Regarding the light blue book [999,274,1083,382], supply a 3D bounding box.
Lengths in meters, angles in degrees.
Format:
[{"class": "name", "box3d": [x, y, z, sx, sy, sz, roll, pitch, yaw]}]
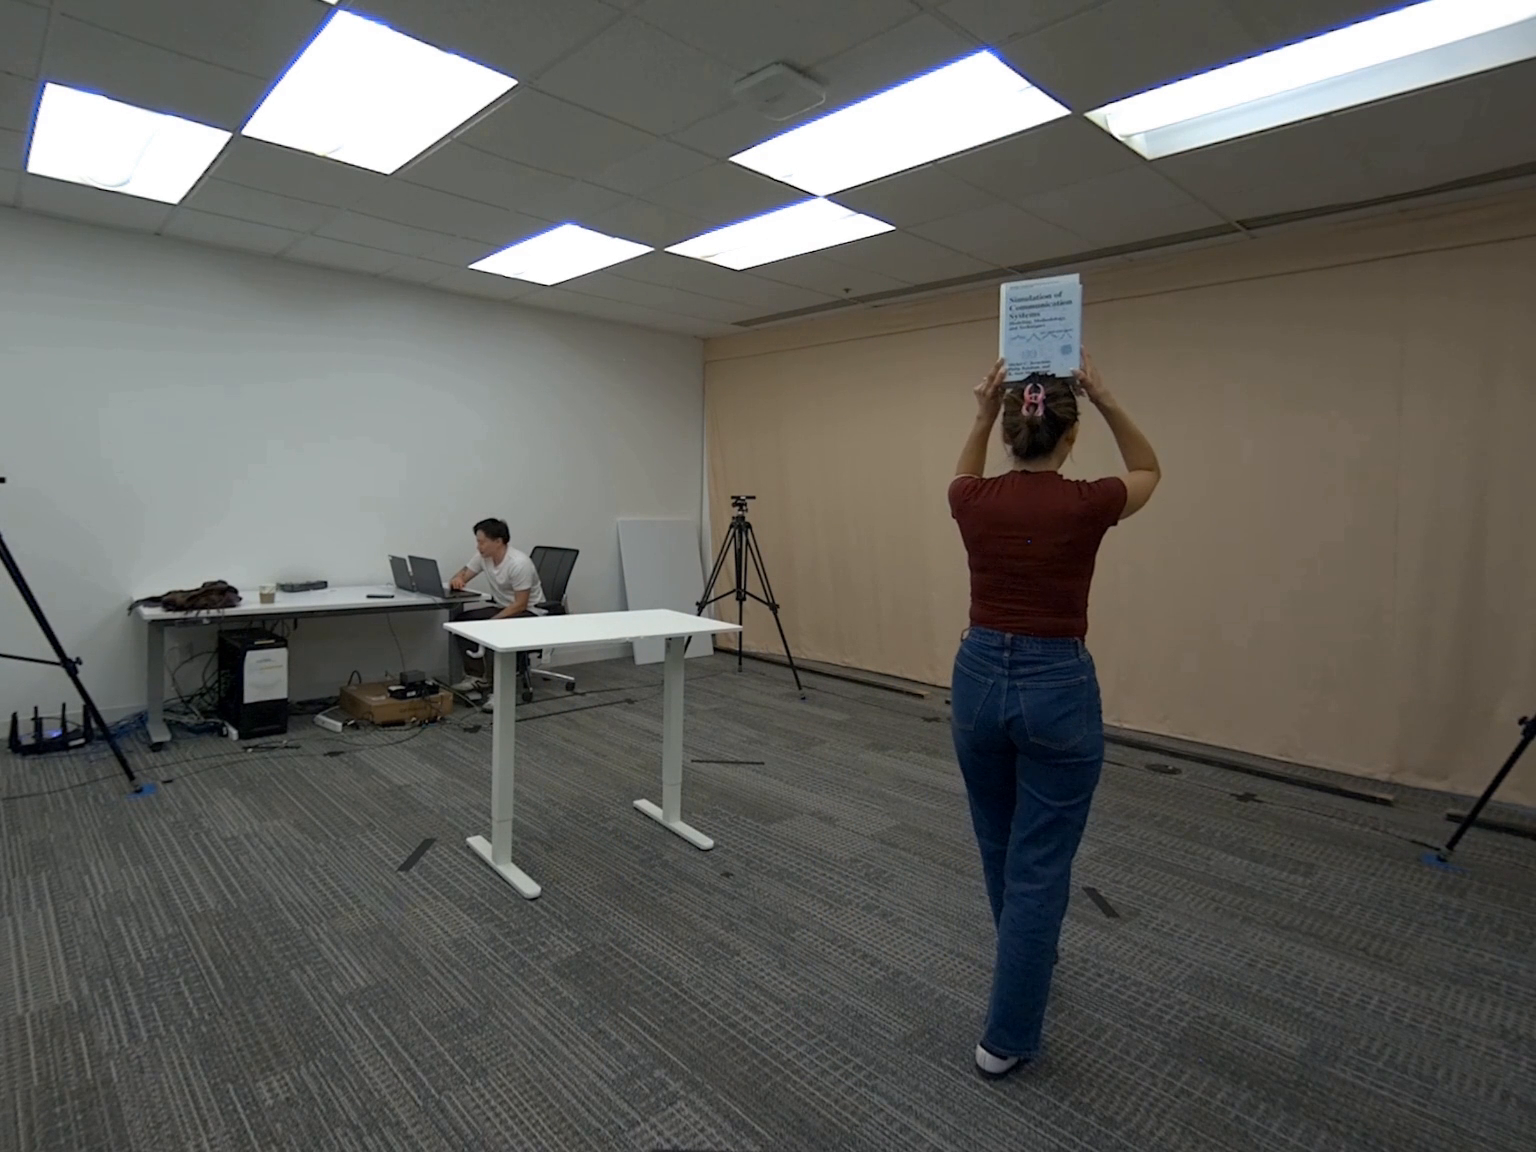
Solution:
[{"class": "light blue book", "box3d": [0.673, -0.603, 2.097, 0.195, 0.262, 0.057, 2, -8, 24]}]
